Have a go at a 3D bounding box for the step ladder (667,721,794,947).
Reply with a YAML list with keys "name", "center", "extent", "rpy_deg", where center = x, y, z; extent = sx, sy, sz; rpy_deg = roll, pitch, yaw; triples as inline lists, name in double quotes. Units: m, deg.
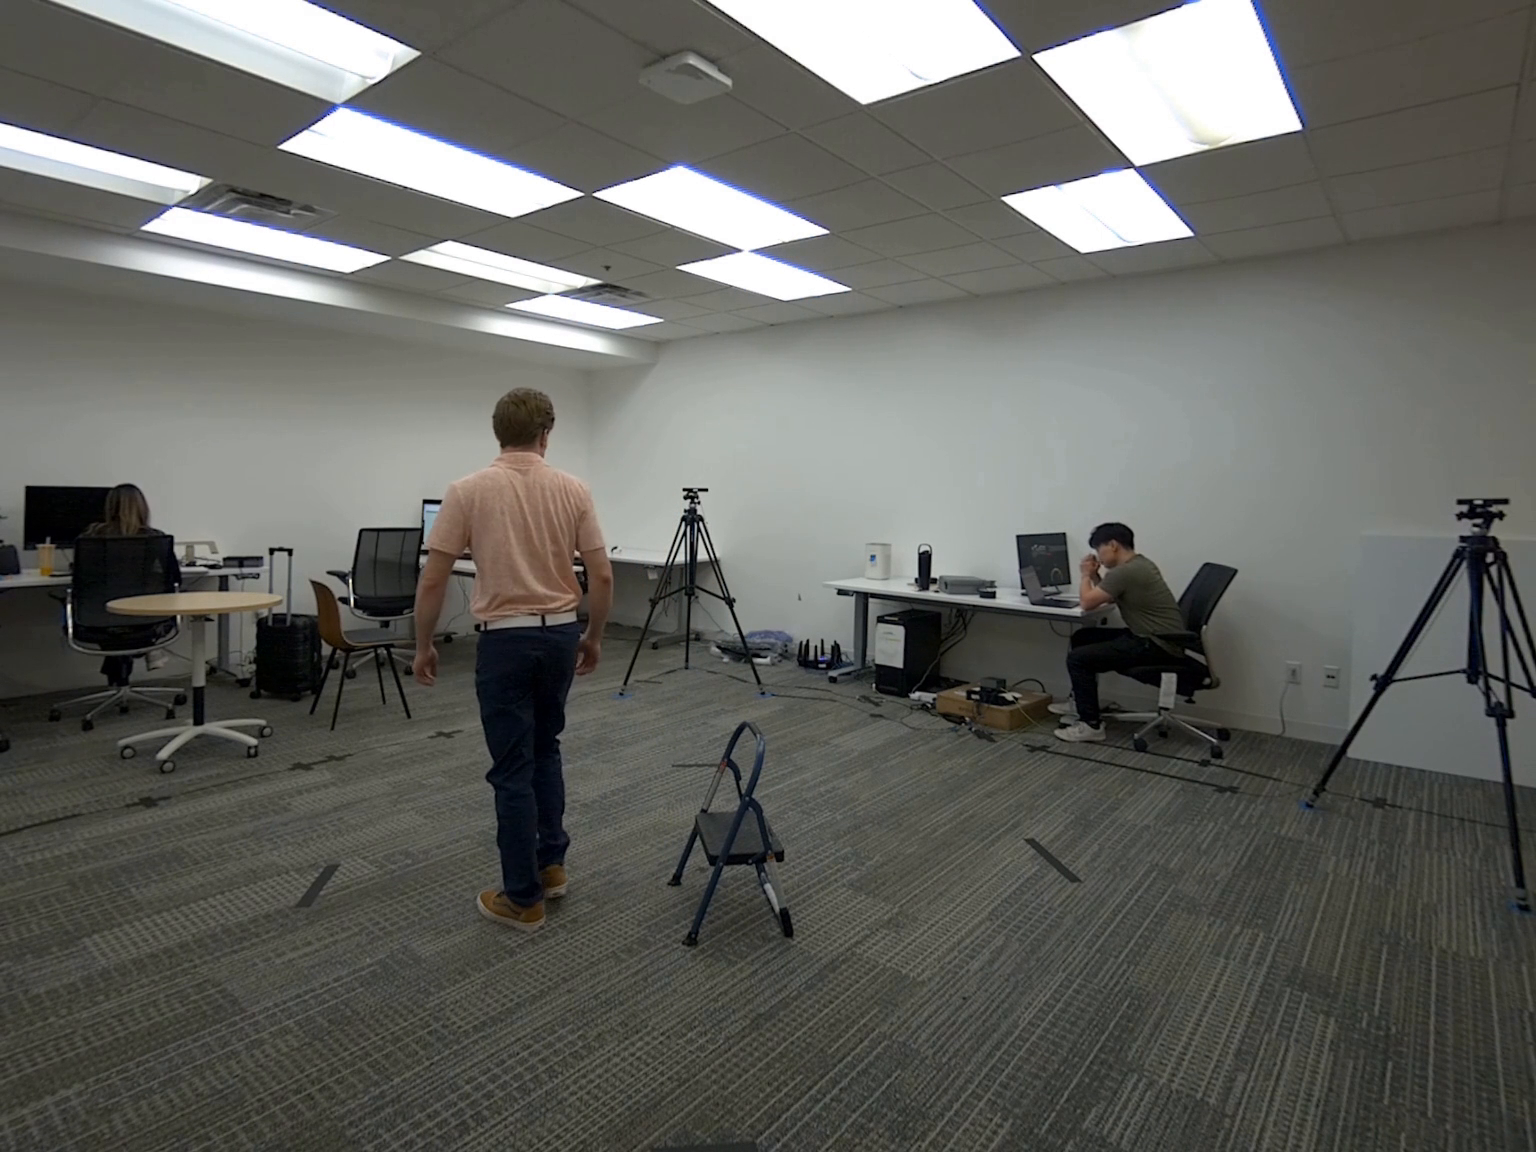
- name: "step ladder"
  center: [-0.129, 0.803, 2.796]
  extent: [0.345, 0.604, 0.437]
  rpy_deg: [1, 4, -12]
